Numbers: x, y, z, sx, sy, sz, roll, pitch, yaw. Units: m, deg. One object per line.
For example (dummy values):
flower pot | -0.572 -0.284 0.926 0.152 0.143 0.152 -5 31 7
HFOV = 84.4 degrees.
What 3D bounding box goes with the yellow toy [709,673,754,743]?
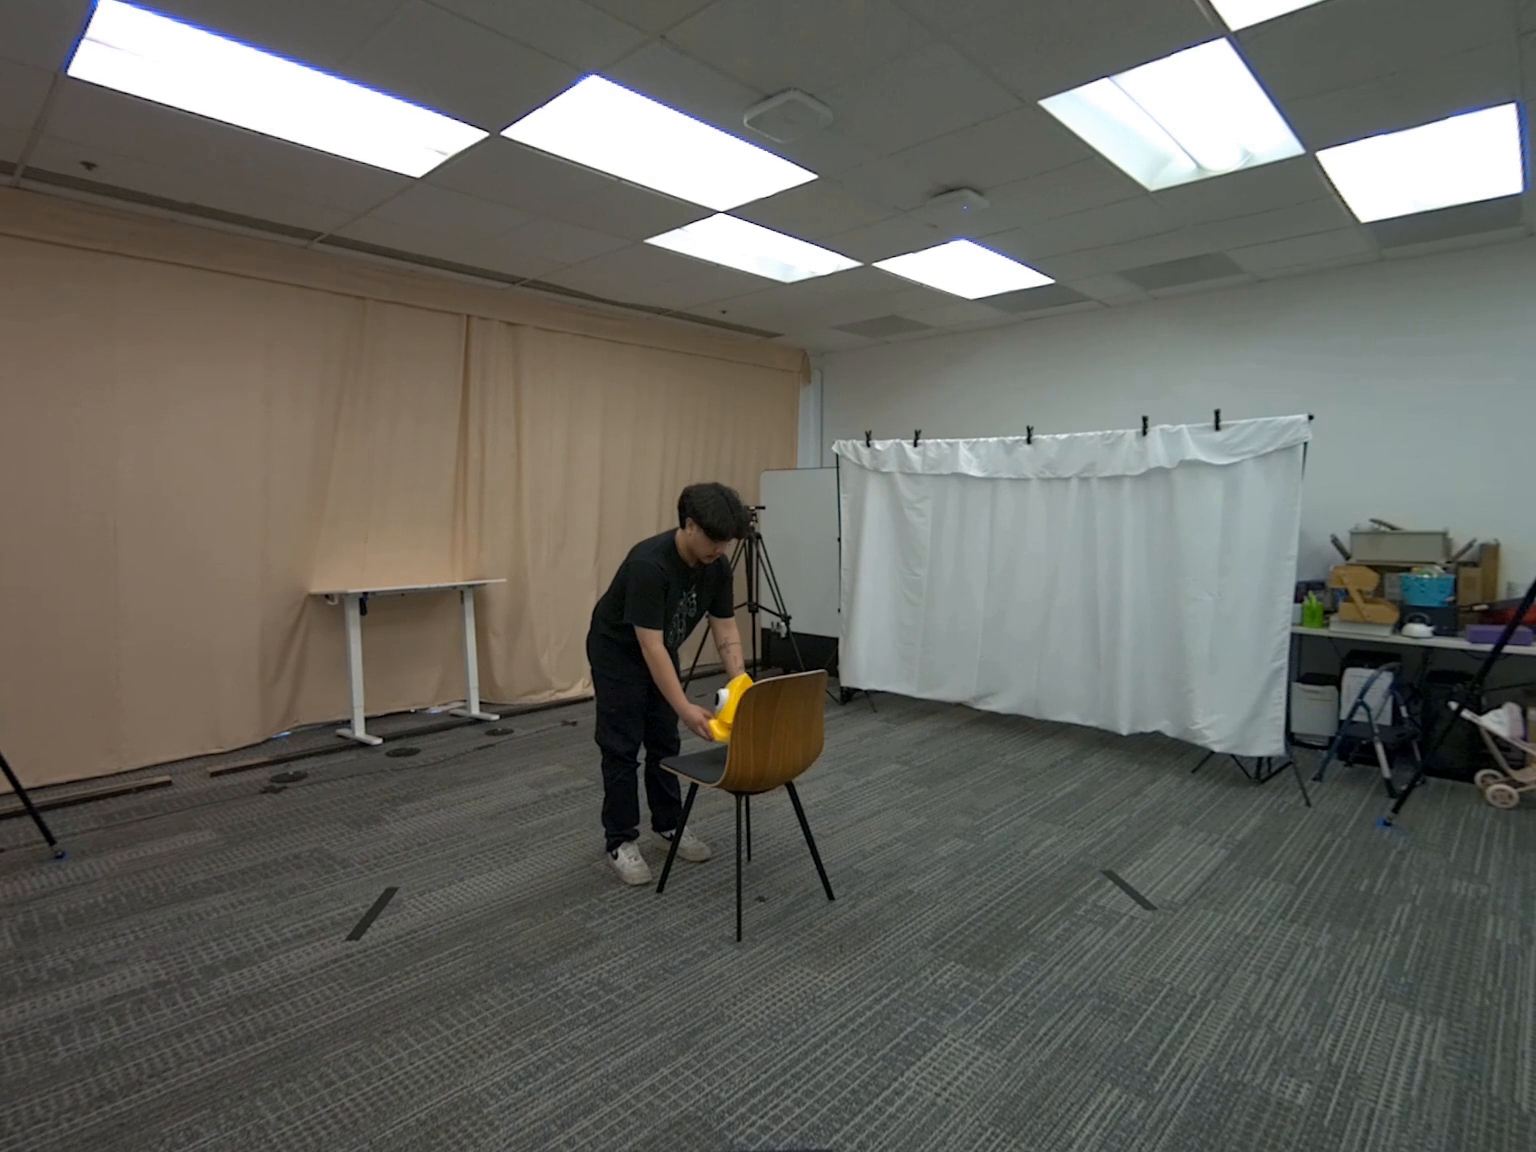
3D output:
yellow toy | -0.121 0.446 2.995 0.200 0.229 0.199 10 11 44
